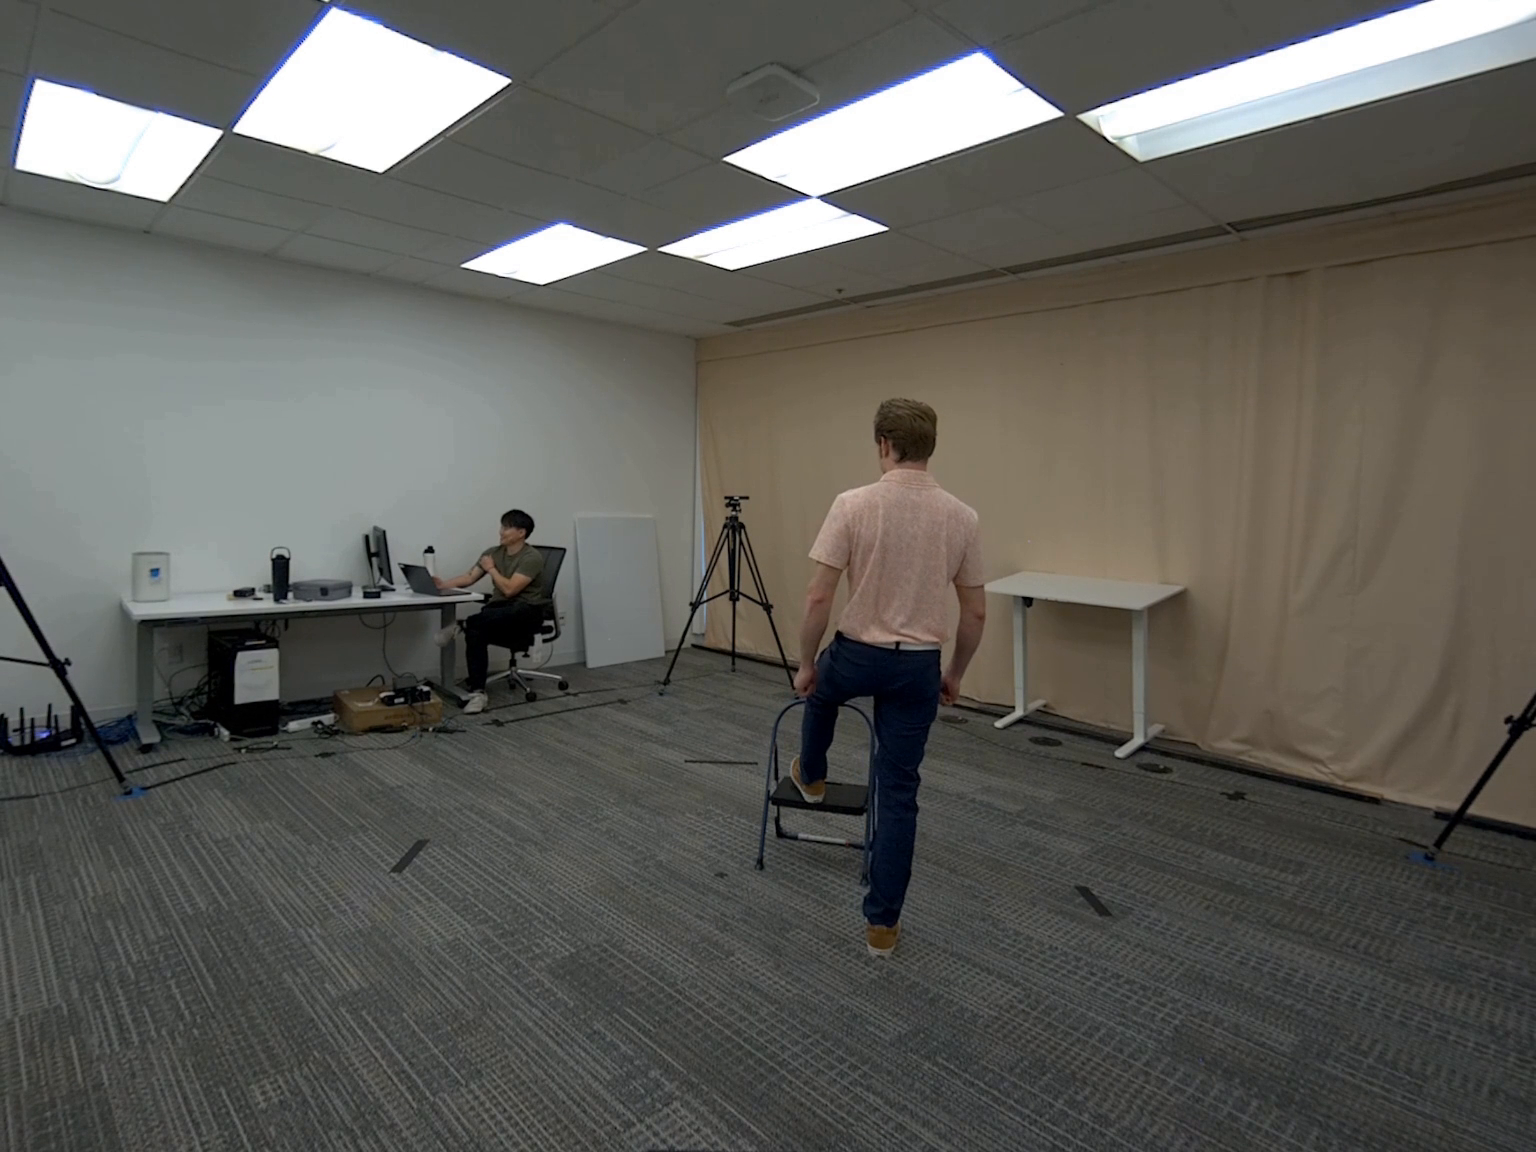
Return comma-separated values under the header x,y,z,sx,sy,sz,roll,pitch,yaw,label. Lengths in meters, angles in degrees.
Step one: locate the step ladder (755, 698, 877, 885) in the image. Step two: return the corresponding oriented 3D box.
x,y,z,sx,sy,sz,roll,pitch,yaw,label
0.199,0.798,3.251,0.436,0.605,0.346,2,3,15,step ladder
